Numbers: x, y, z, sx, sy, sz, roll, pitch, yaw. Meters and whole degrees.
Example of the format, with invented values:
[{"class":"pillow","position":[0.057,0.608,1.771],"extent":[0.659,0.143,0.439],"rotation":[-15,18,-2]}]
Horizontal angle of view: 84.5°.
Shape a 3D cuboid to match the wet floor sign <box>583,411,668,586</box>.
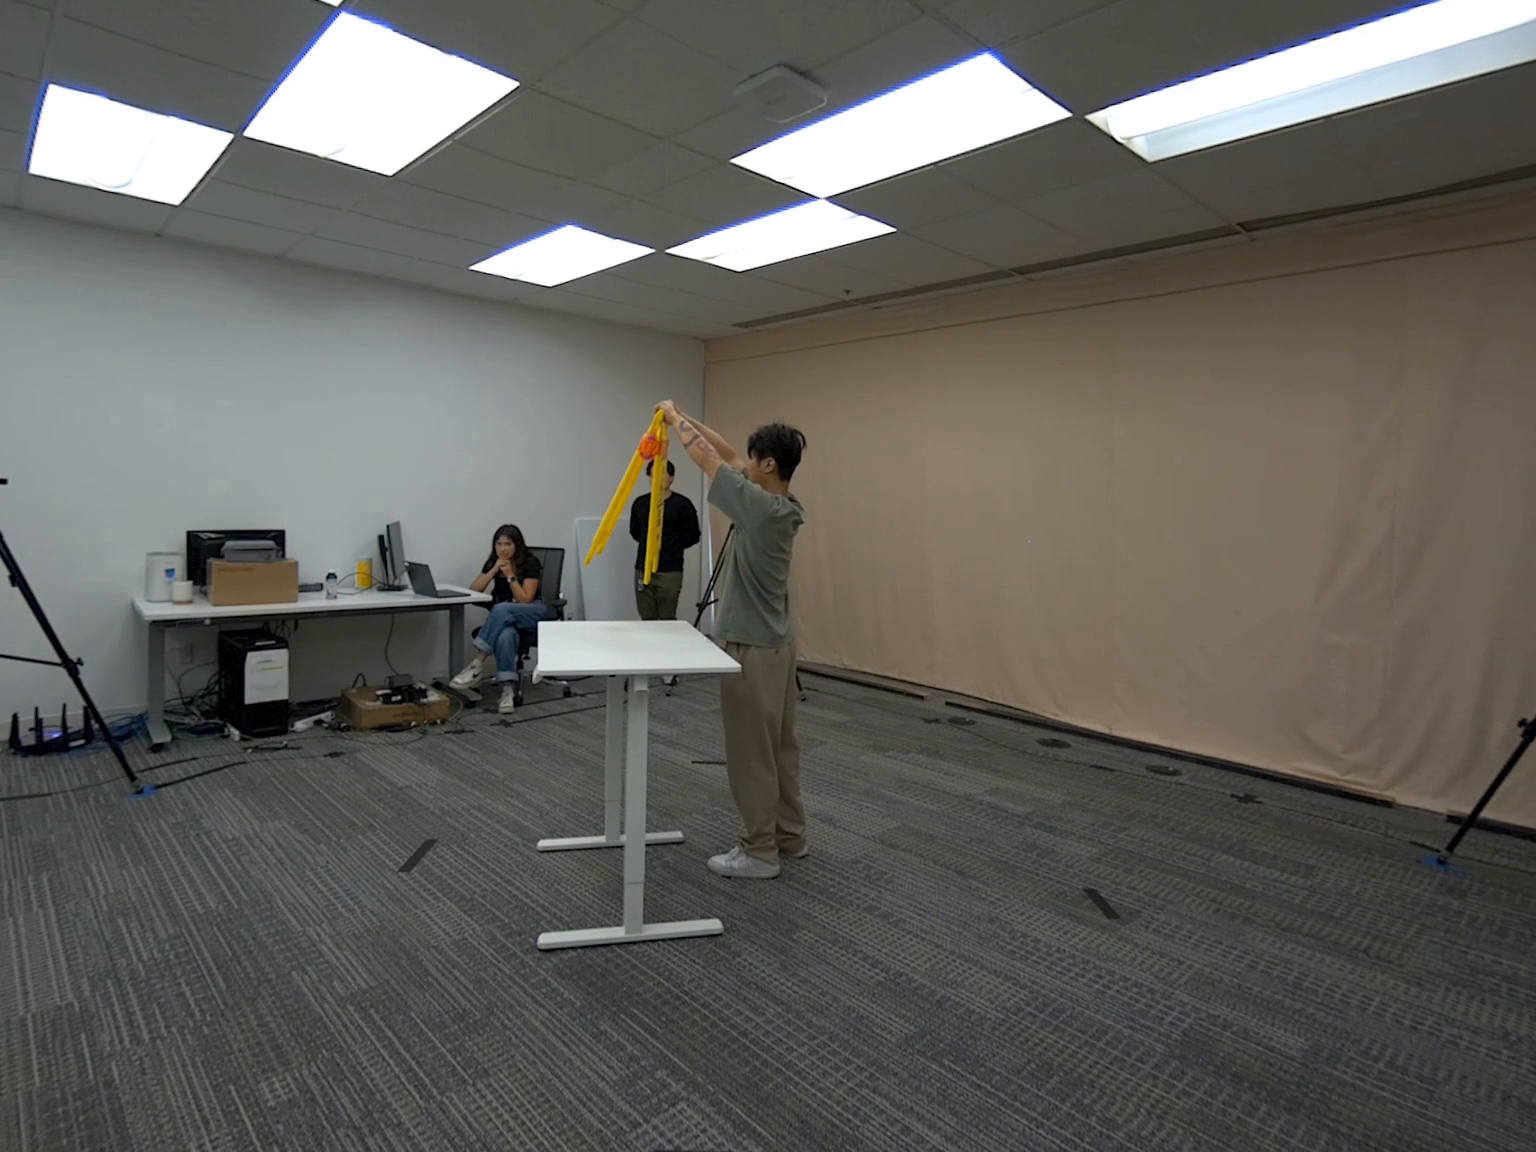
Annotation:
[{"class":"wet floor sign","position":[-0.494,-0.324,3.261],"extent":[0.290,0.643,0.283],"rotation":[15,8,0]}]
